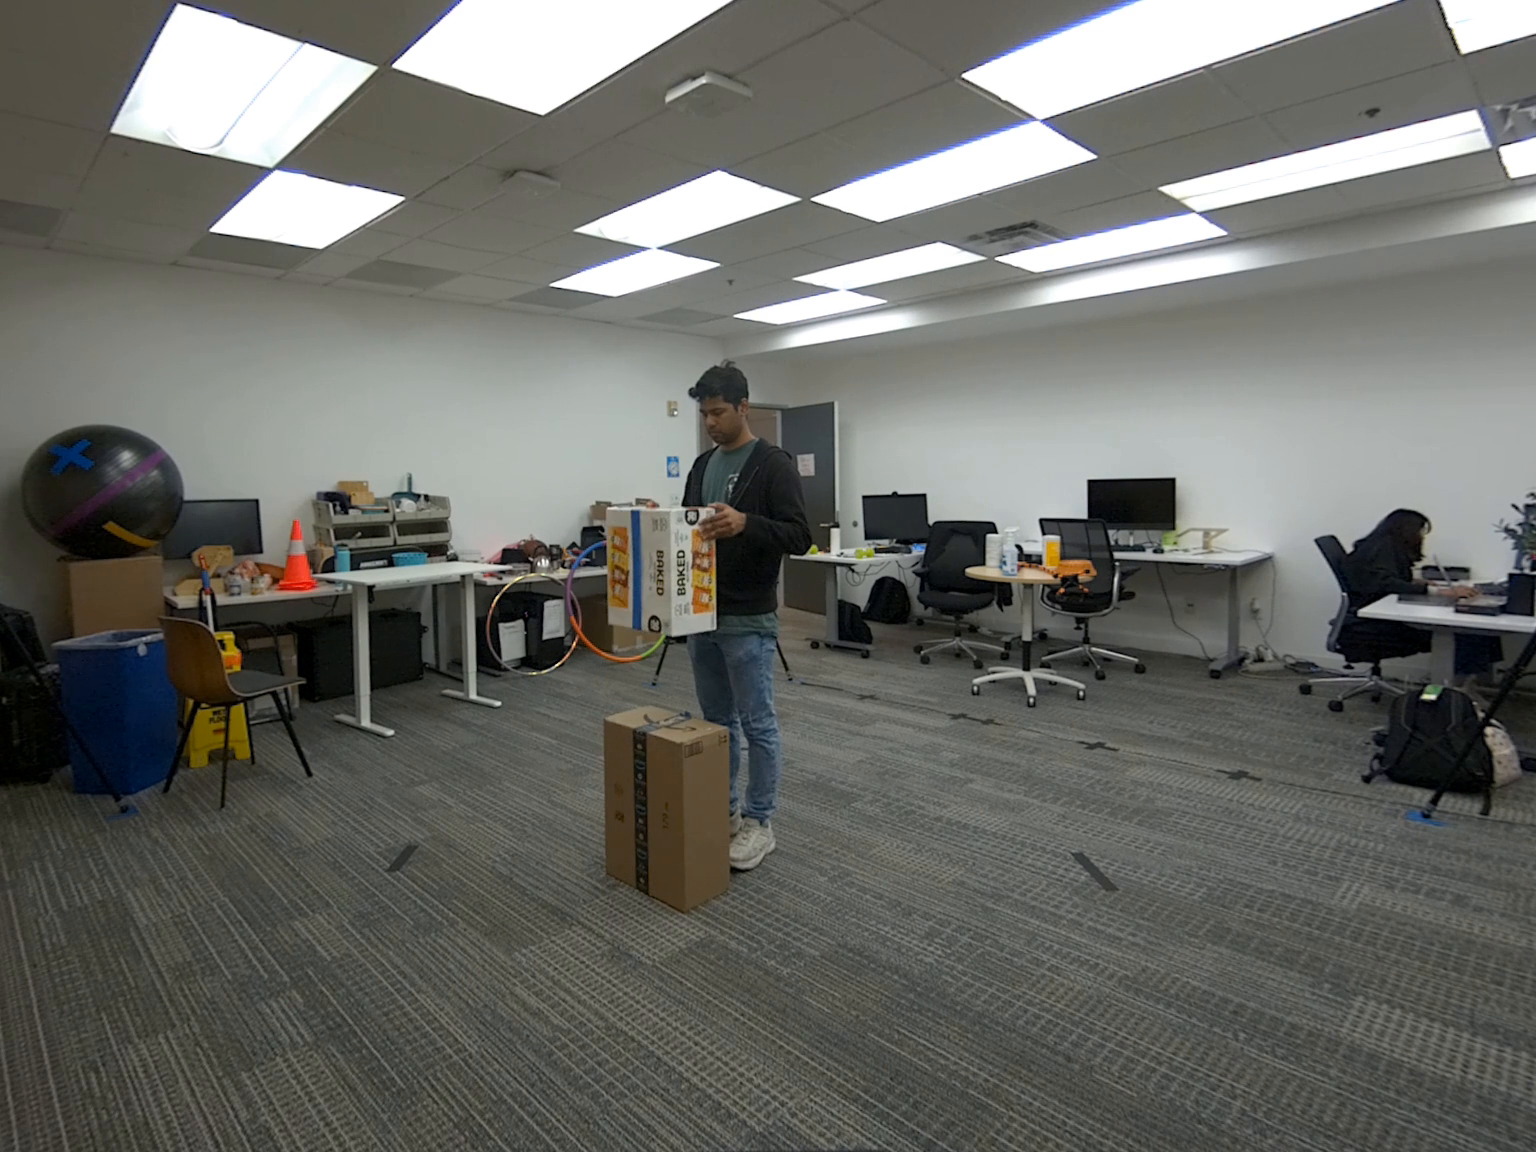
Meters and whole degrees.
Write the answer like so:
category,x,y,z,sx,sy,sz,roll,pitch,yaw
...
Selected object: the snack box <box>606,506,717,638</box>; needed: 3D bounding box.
category,x,y,z,sx,sy,sz,roll,pitch,yaw
snack box,-0.359,-0.024,2.892,0.351,0.404,0.200,3,5,45
